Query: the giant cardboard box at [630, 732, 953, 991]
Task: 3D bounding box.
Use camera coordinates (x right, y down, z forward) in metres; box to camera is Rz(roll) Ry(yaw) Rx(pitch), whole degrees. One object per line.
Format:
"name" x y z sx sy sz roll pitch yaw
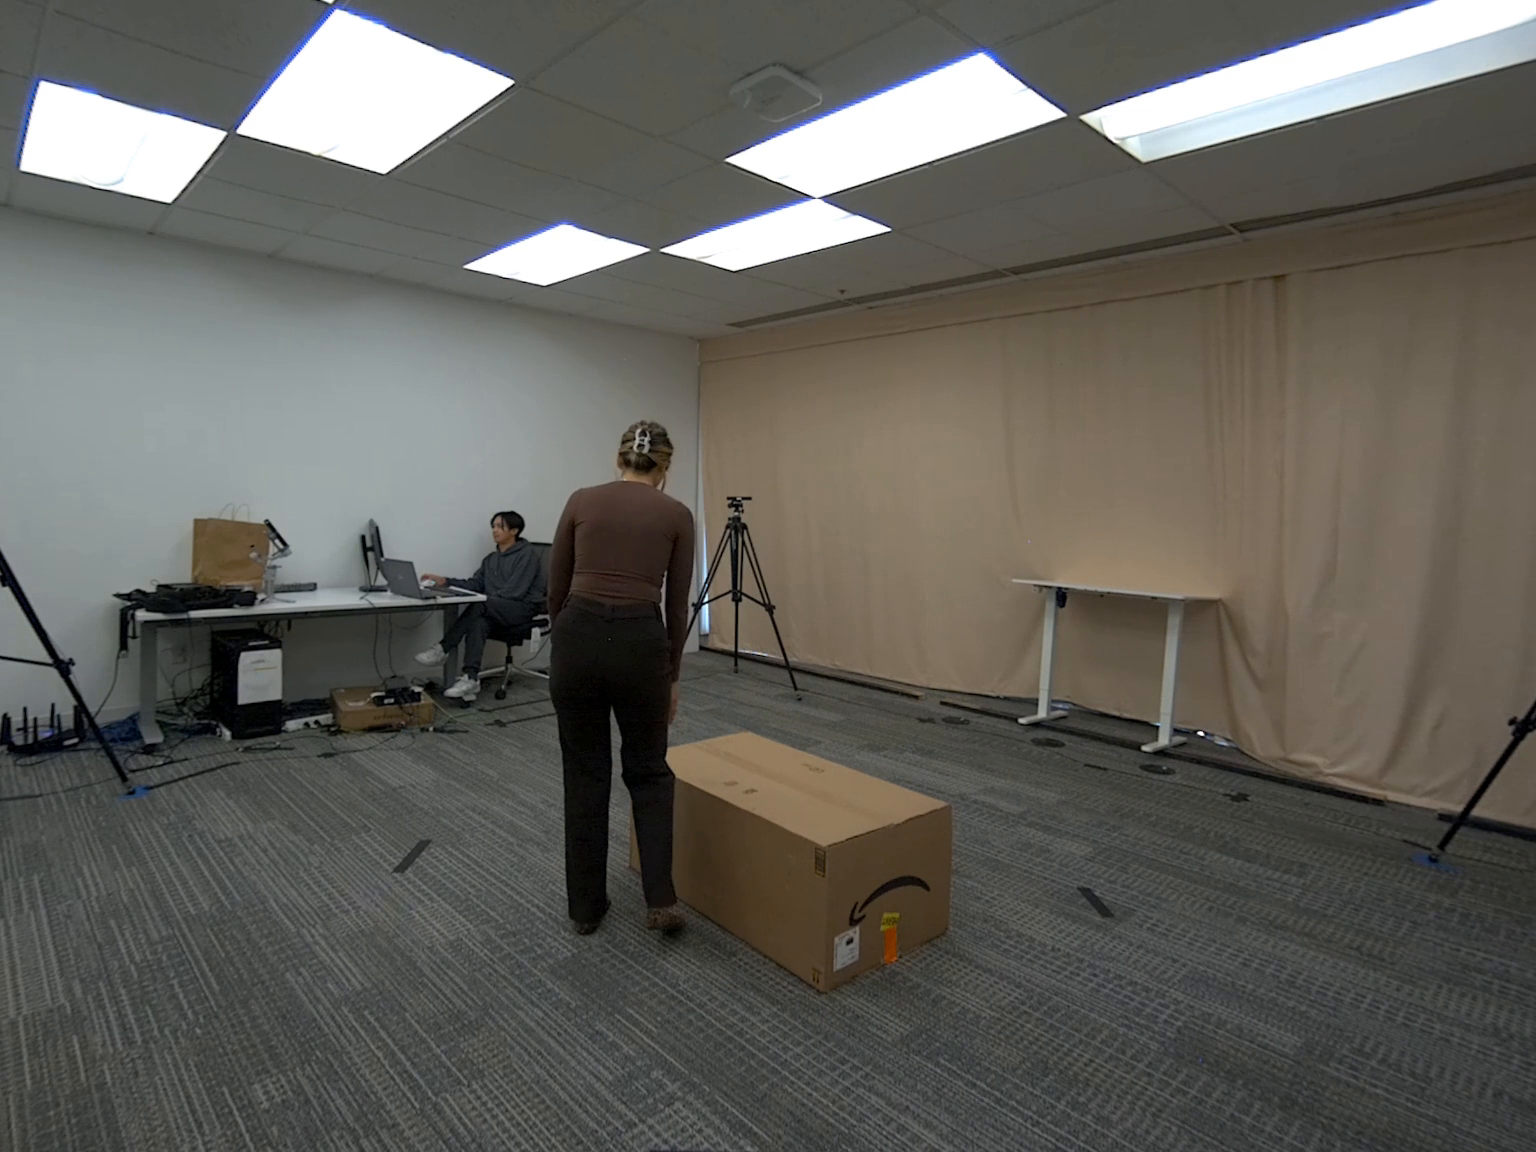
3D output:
"giant cardboard box" 0.037 0.917 2.930 0.570 0.446 1.054 -1 6 -40
